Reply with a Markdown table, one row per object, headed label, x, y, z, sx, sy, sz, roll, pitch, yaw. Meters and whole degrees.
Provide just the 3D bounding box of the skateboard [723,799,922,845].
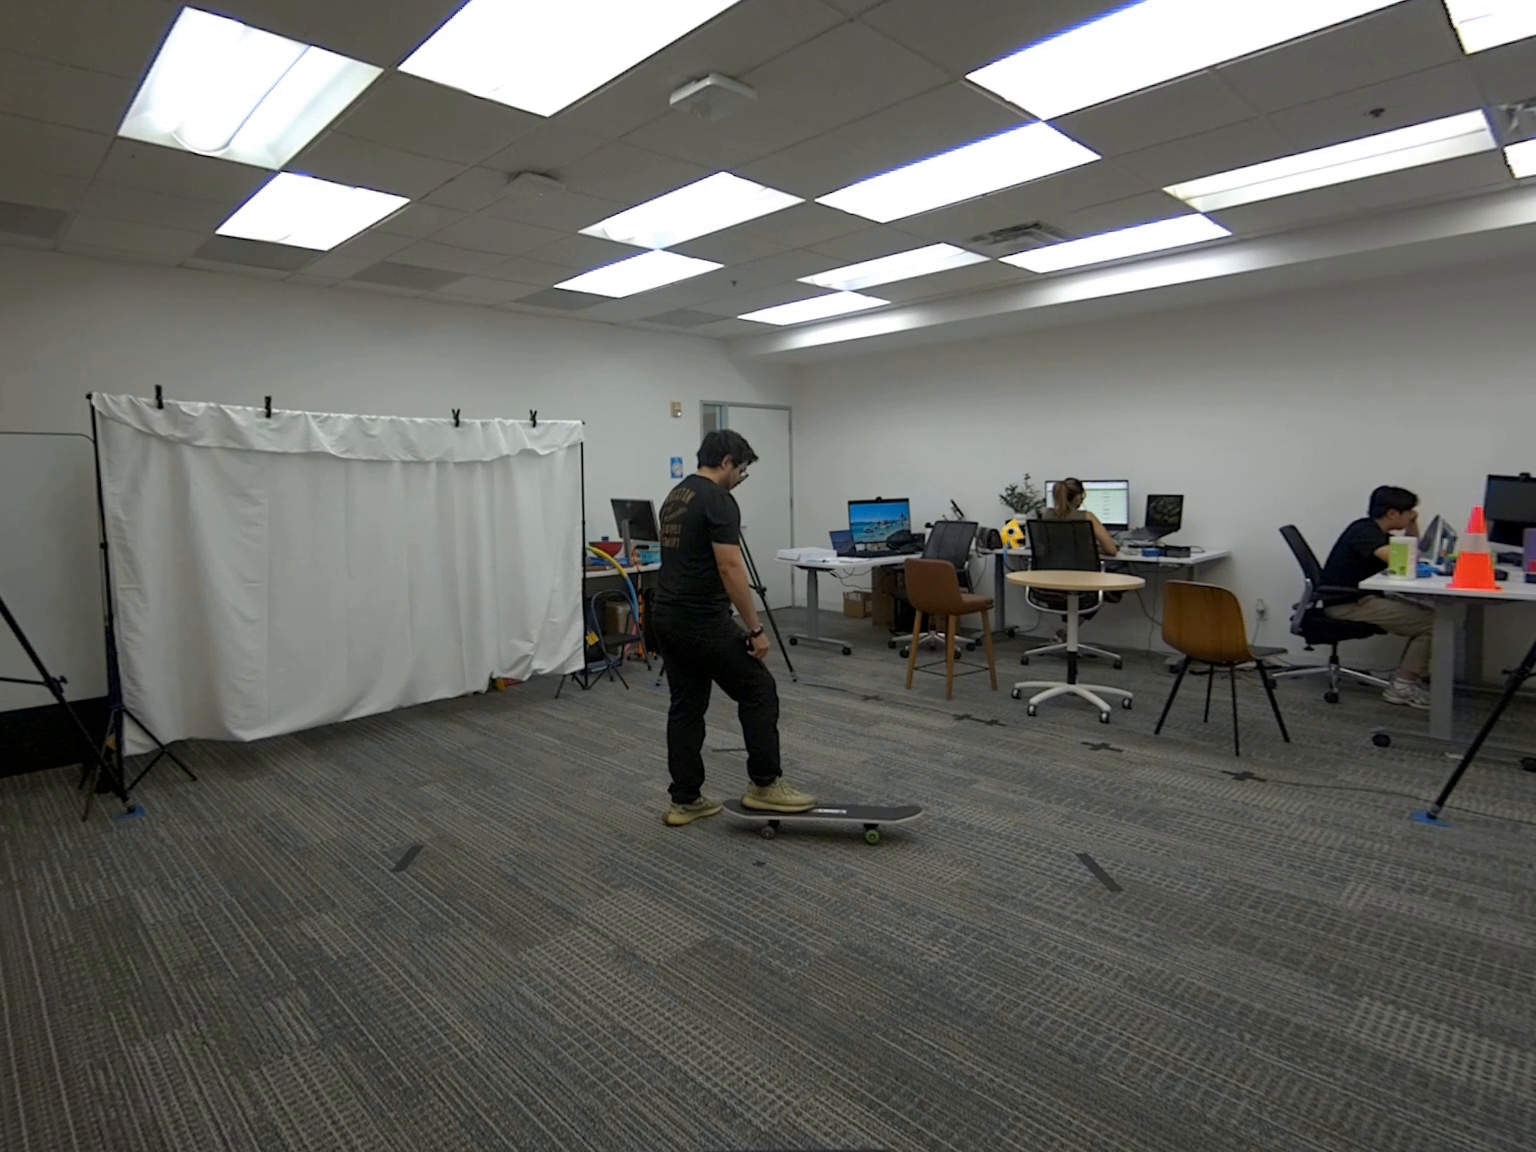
| label | x | y | z | sx | sy | sz | roll | pitch | yaw |
| --- | --- | --- | --- | --- | --- | --- | --- | --- | --- |
| skateboard | 0.214 | 0.957 | 3.365 | 0.794 | 0.110 | 0.191 | -1 | 2 | 11 |
